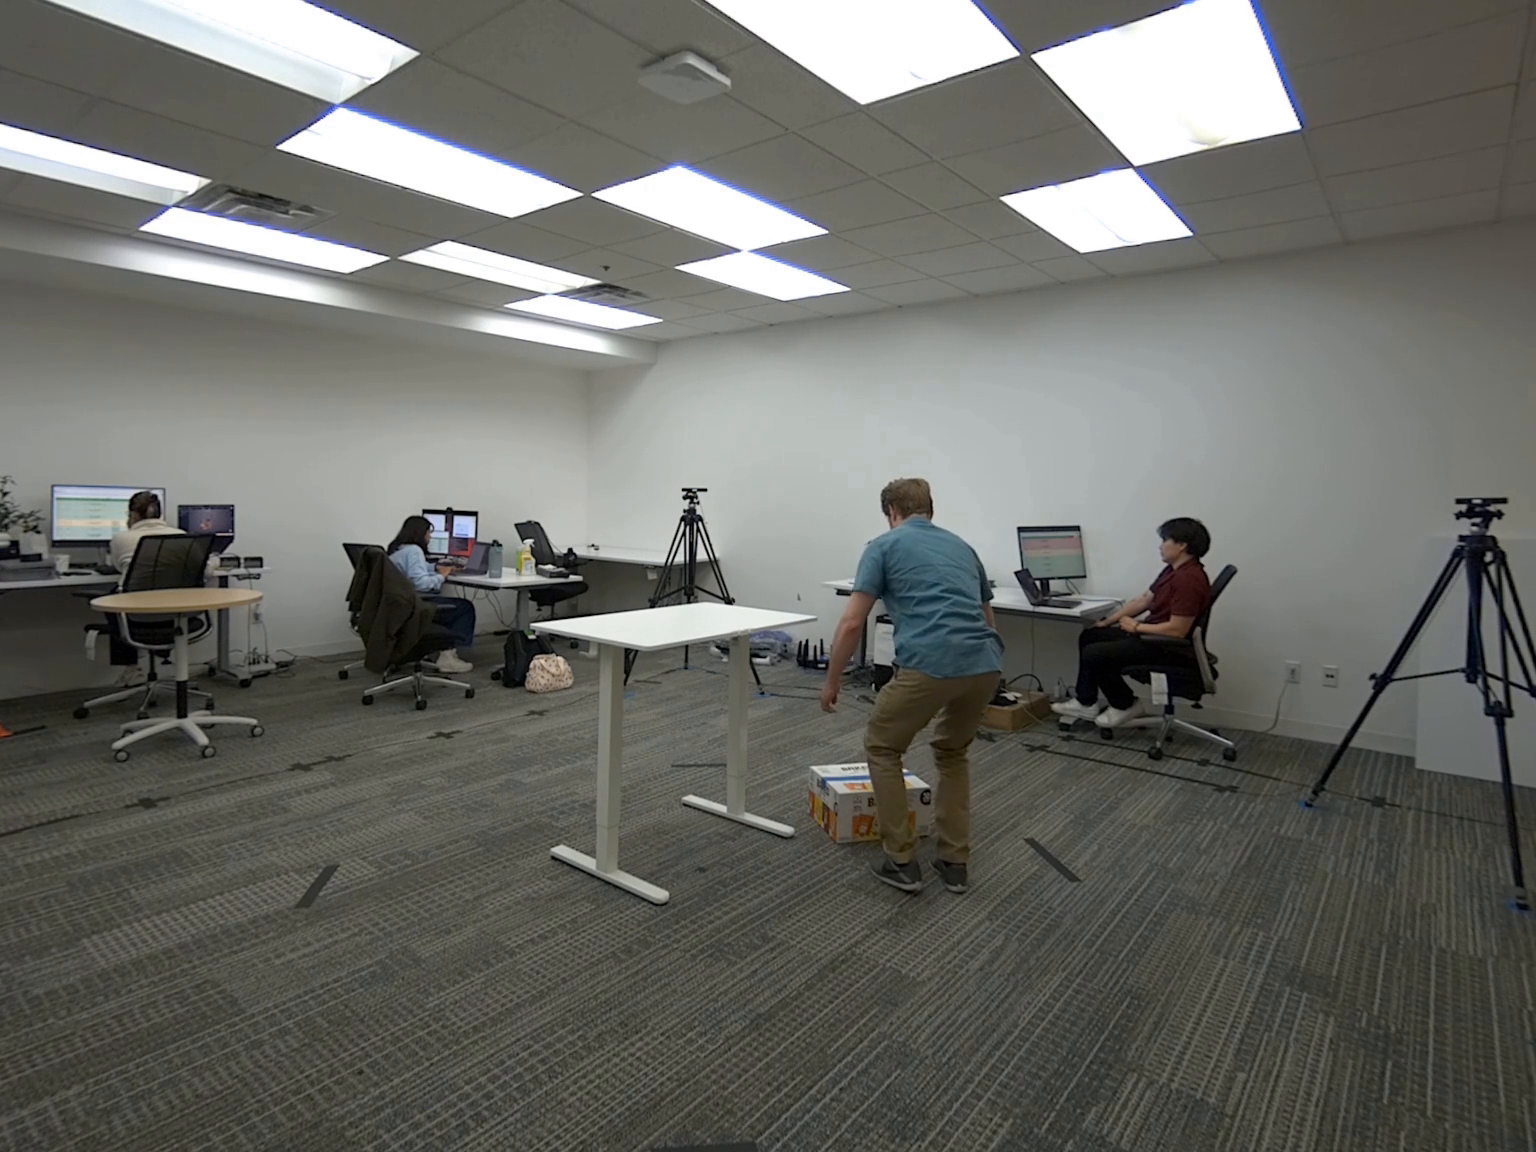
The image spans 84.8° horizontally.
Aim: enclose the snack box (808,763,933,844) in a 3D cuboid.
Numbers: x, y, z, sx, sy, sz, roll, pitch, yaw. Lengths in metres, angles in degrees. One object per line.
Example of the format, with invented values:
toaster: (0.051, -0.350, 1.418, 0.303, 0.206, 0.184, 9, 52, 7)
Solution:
snack box: (0.409, 0.937, 3.566, 0.399, 0.205, 0.347, 0, 5, -16)
